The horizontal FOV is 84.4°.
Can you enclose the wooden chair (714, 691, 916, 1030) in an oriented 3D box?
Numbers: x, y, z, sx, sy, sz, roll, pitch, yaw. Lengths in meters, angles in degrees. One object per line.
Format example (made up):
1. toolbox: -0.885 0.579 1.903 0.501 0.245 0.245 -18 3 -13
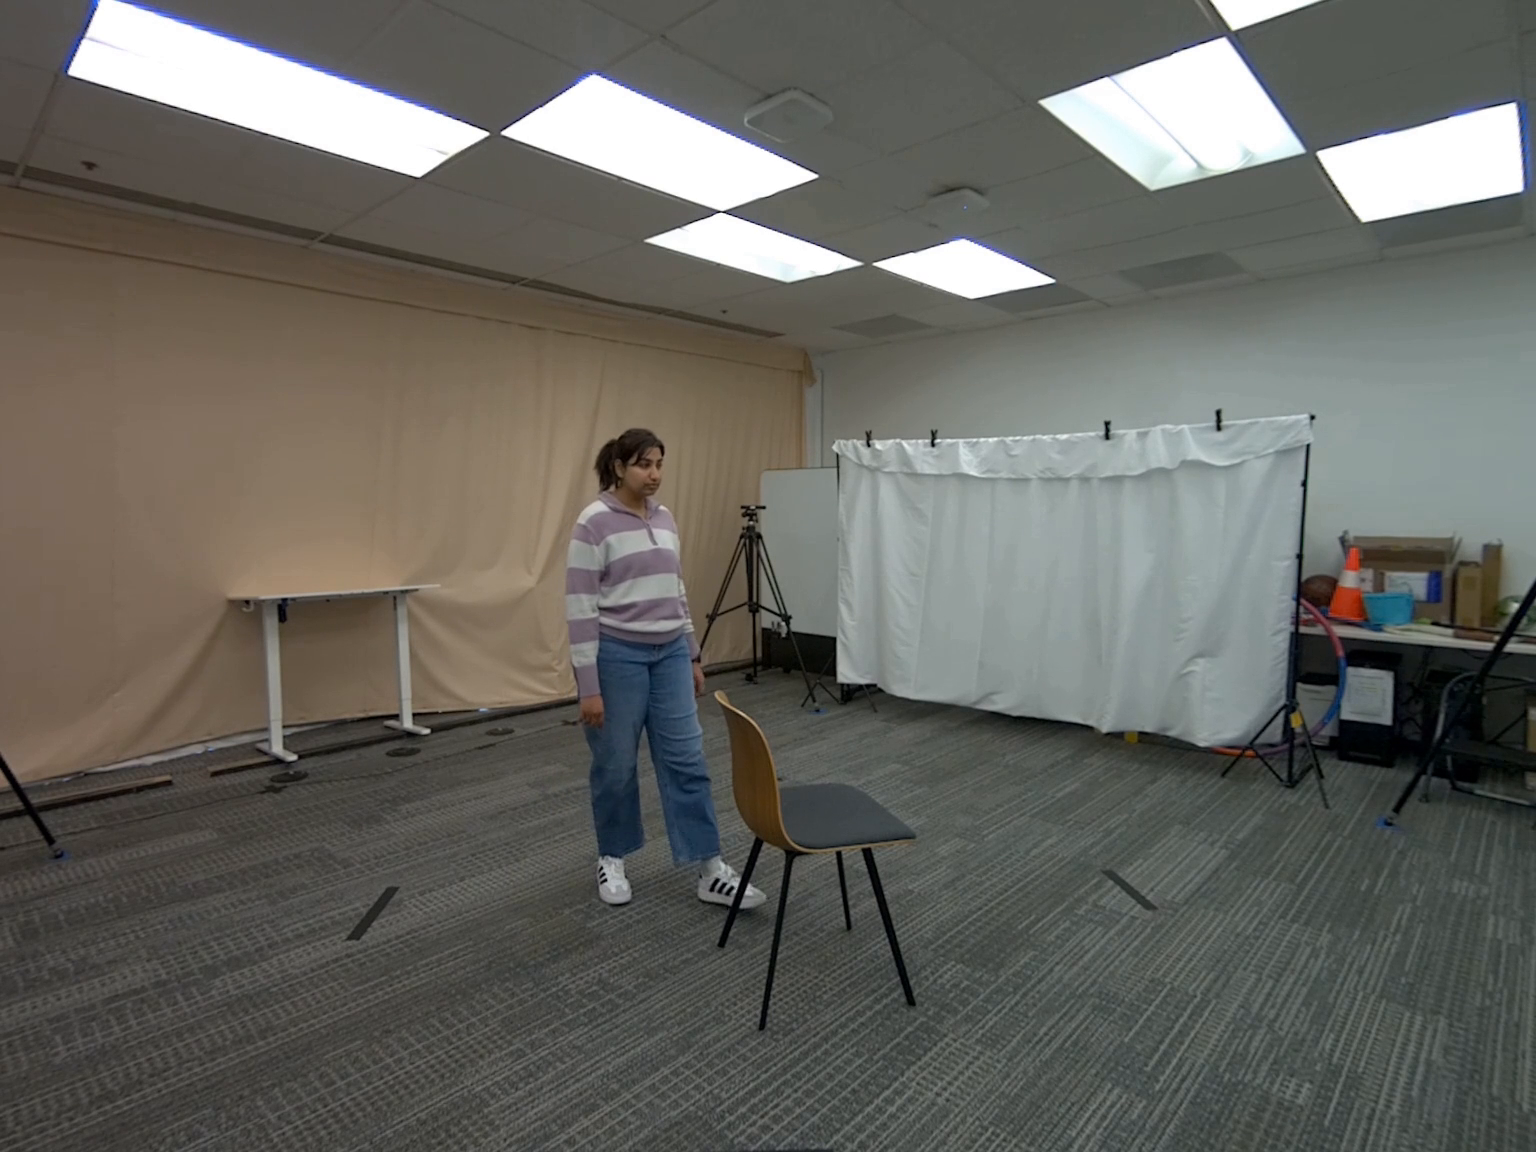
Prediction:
1. wooden chair: 0.141 0.760 2.479 0.515 0.875 0.487 -5 4 -16
